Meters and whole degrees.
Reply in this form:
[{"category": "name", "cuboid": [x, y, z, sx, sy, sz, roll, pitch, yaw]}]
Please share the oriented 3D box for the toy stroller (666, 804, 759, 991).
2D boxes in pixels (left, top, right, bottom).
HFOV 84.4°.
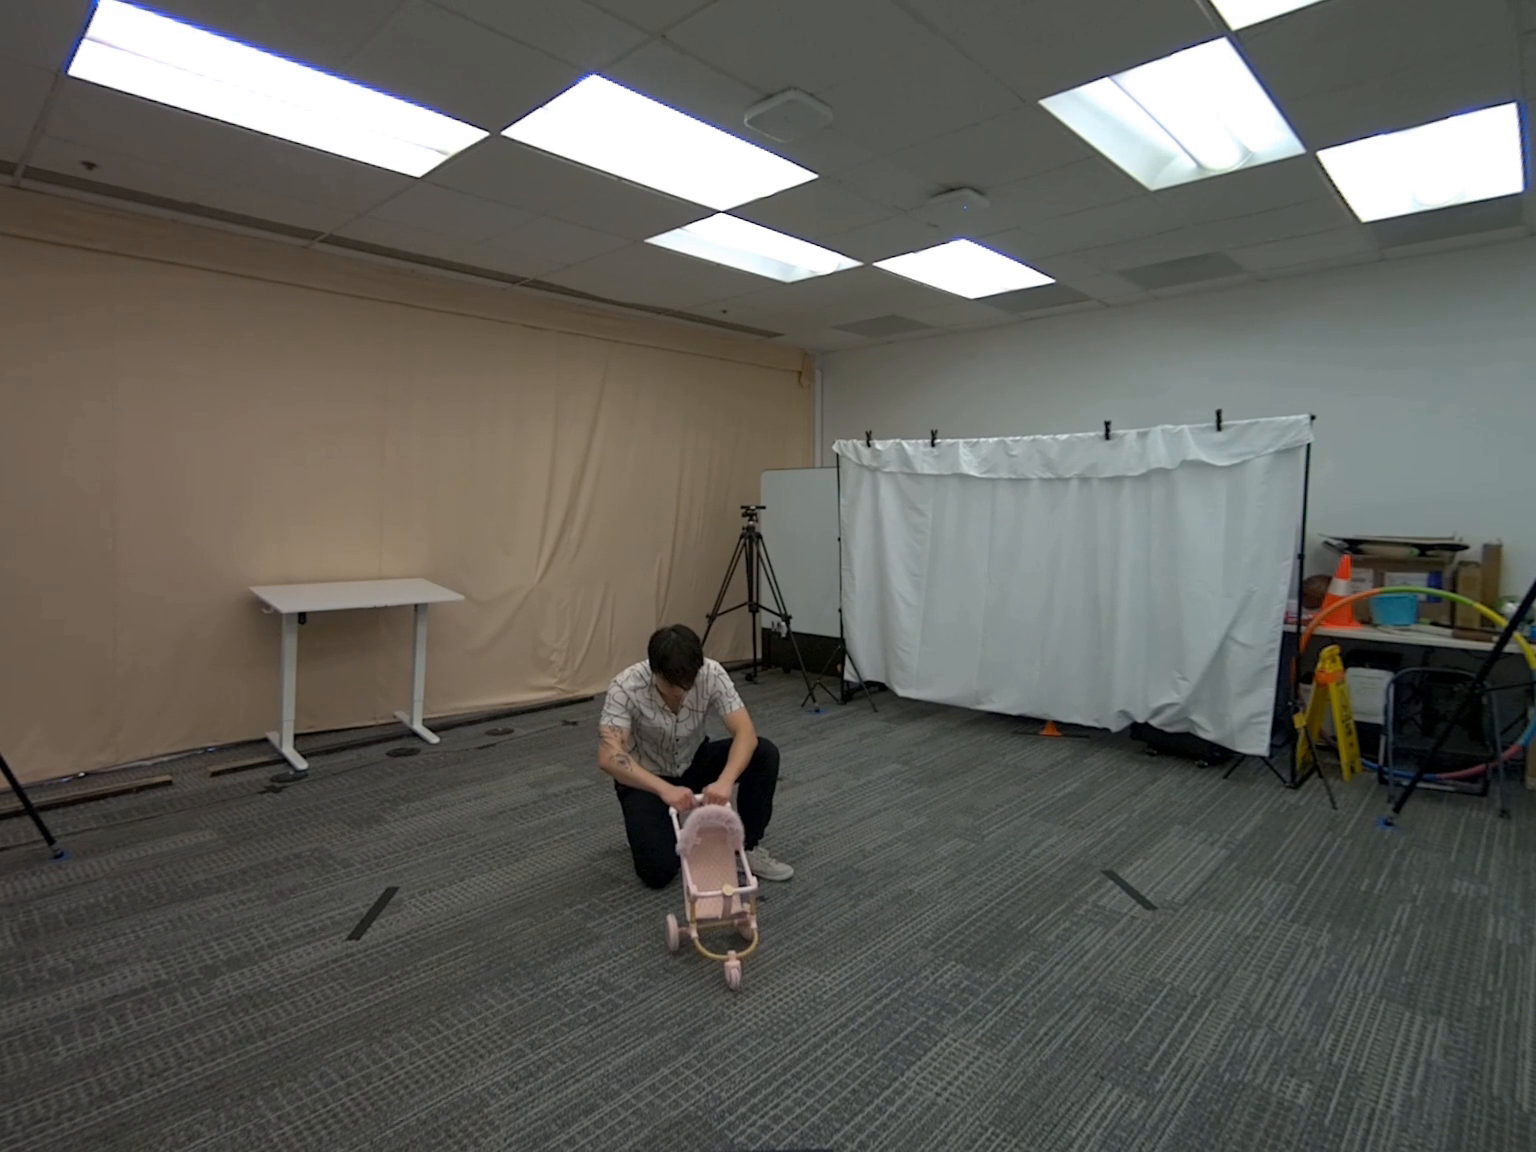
[{"category": "toy stroller", "cuboid": [-0.165, 0.946, 2.613, 0.278, 0.540, 0.342, -1, -13, -12]}]
